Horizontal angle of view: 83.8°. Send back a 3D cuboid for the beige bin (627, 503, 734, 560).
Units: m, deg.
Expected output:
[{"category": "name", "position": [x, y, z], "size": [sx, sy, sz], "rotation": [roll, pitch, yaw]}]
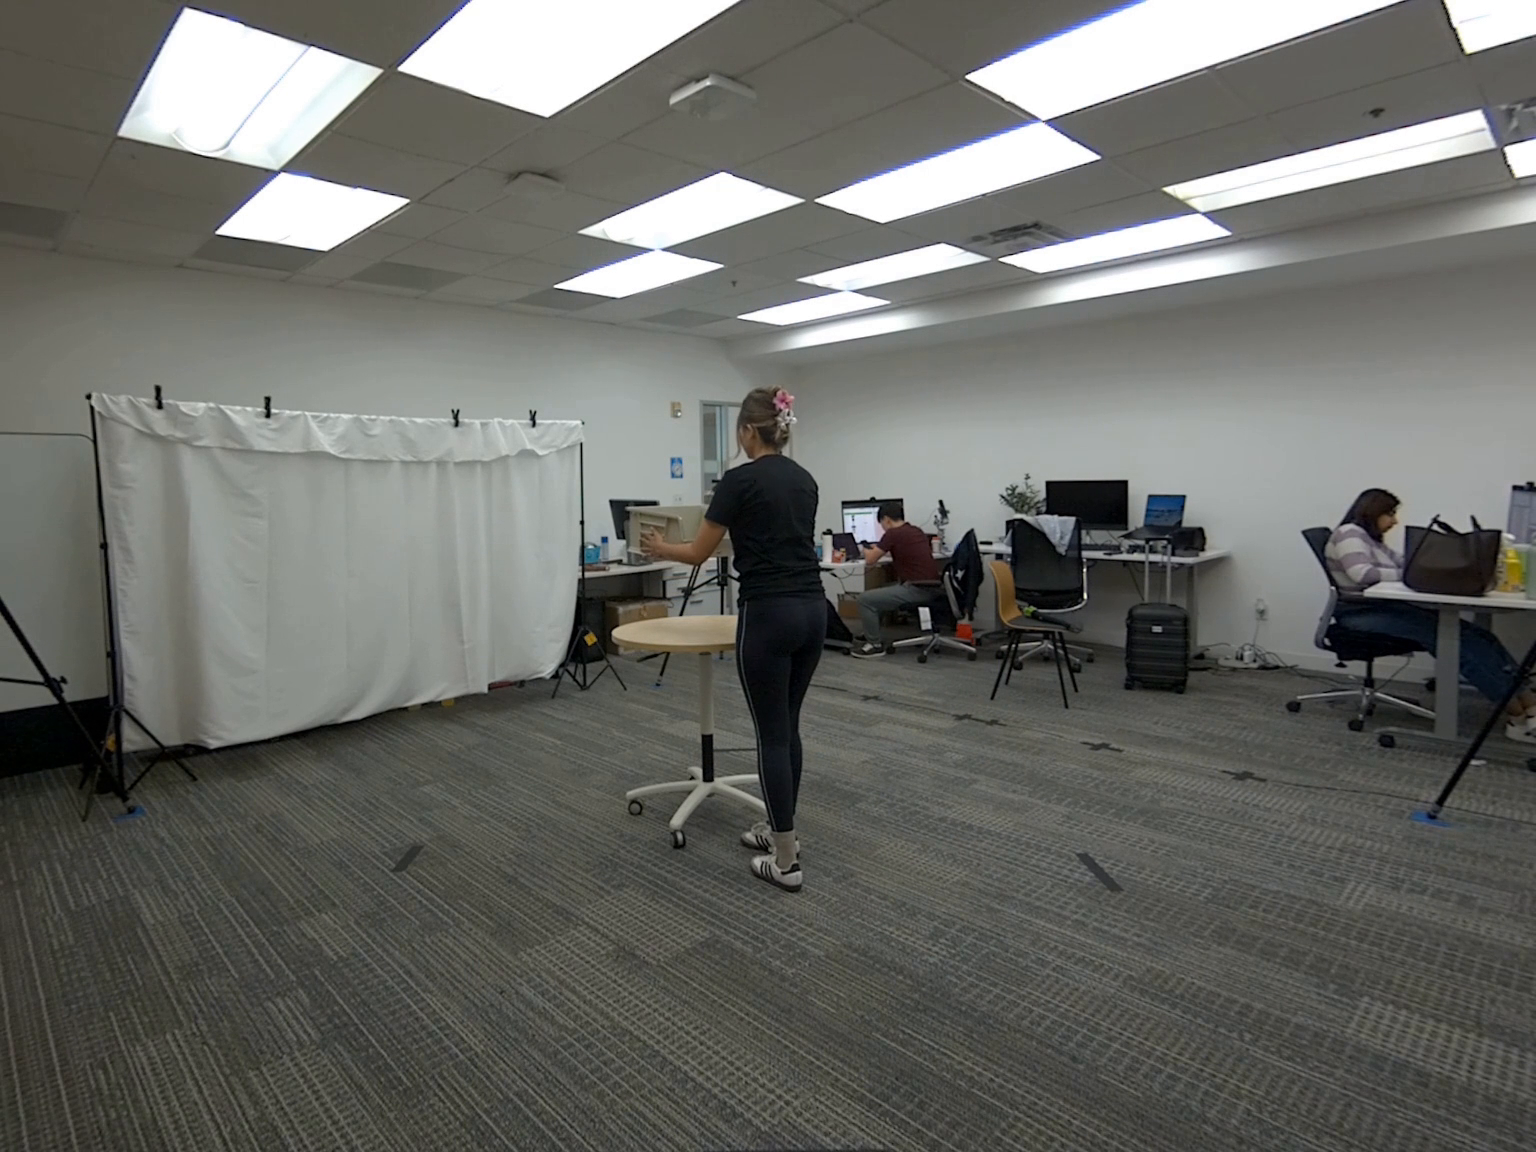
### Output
[{"category": "beige bin", "position": [-0.304, -0.175, 3.473], "size": [0.411, 0.187, 0.390], "rotation": [-8, 13, -42]}]
